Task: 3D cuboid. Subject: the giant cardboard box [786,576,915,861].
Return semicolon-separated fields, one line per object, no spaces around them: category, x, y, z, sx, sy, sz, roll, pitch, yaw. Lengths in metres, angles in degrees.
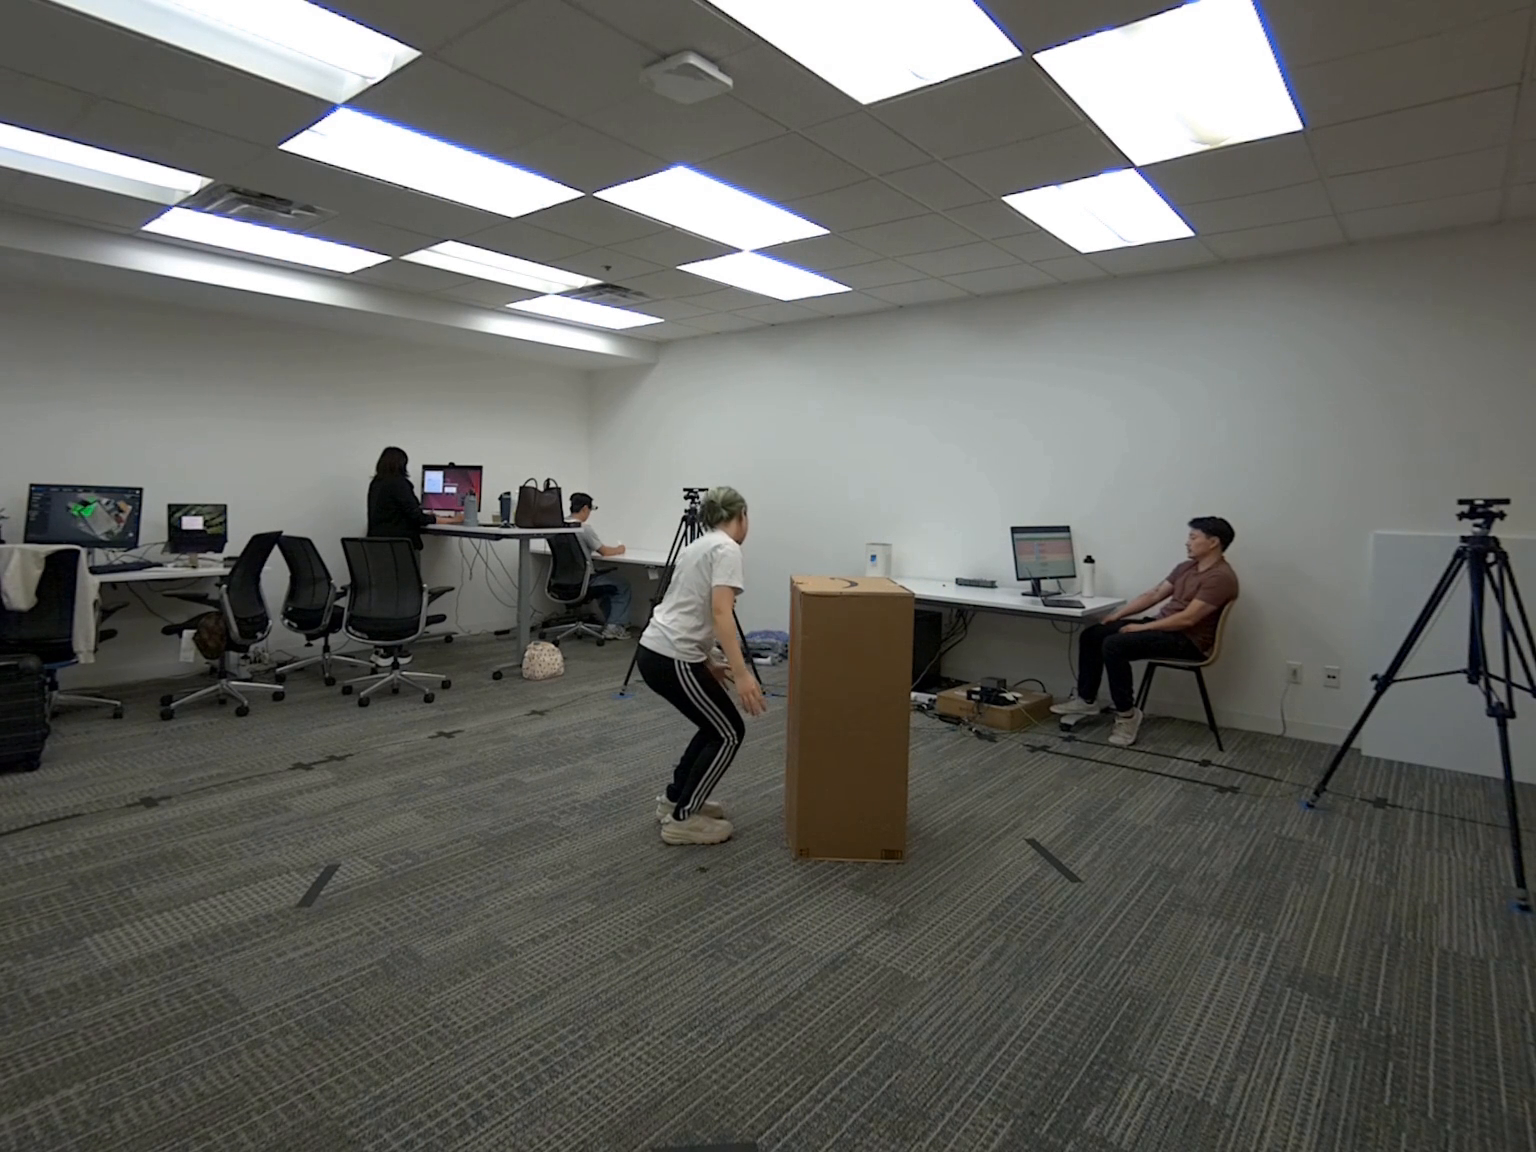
giant cardboard box;0.298;0.537;3.455;0.446;1.024;0.586;2;4;-2
